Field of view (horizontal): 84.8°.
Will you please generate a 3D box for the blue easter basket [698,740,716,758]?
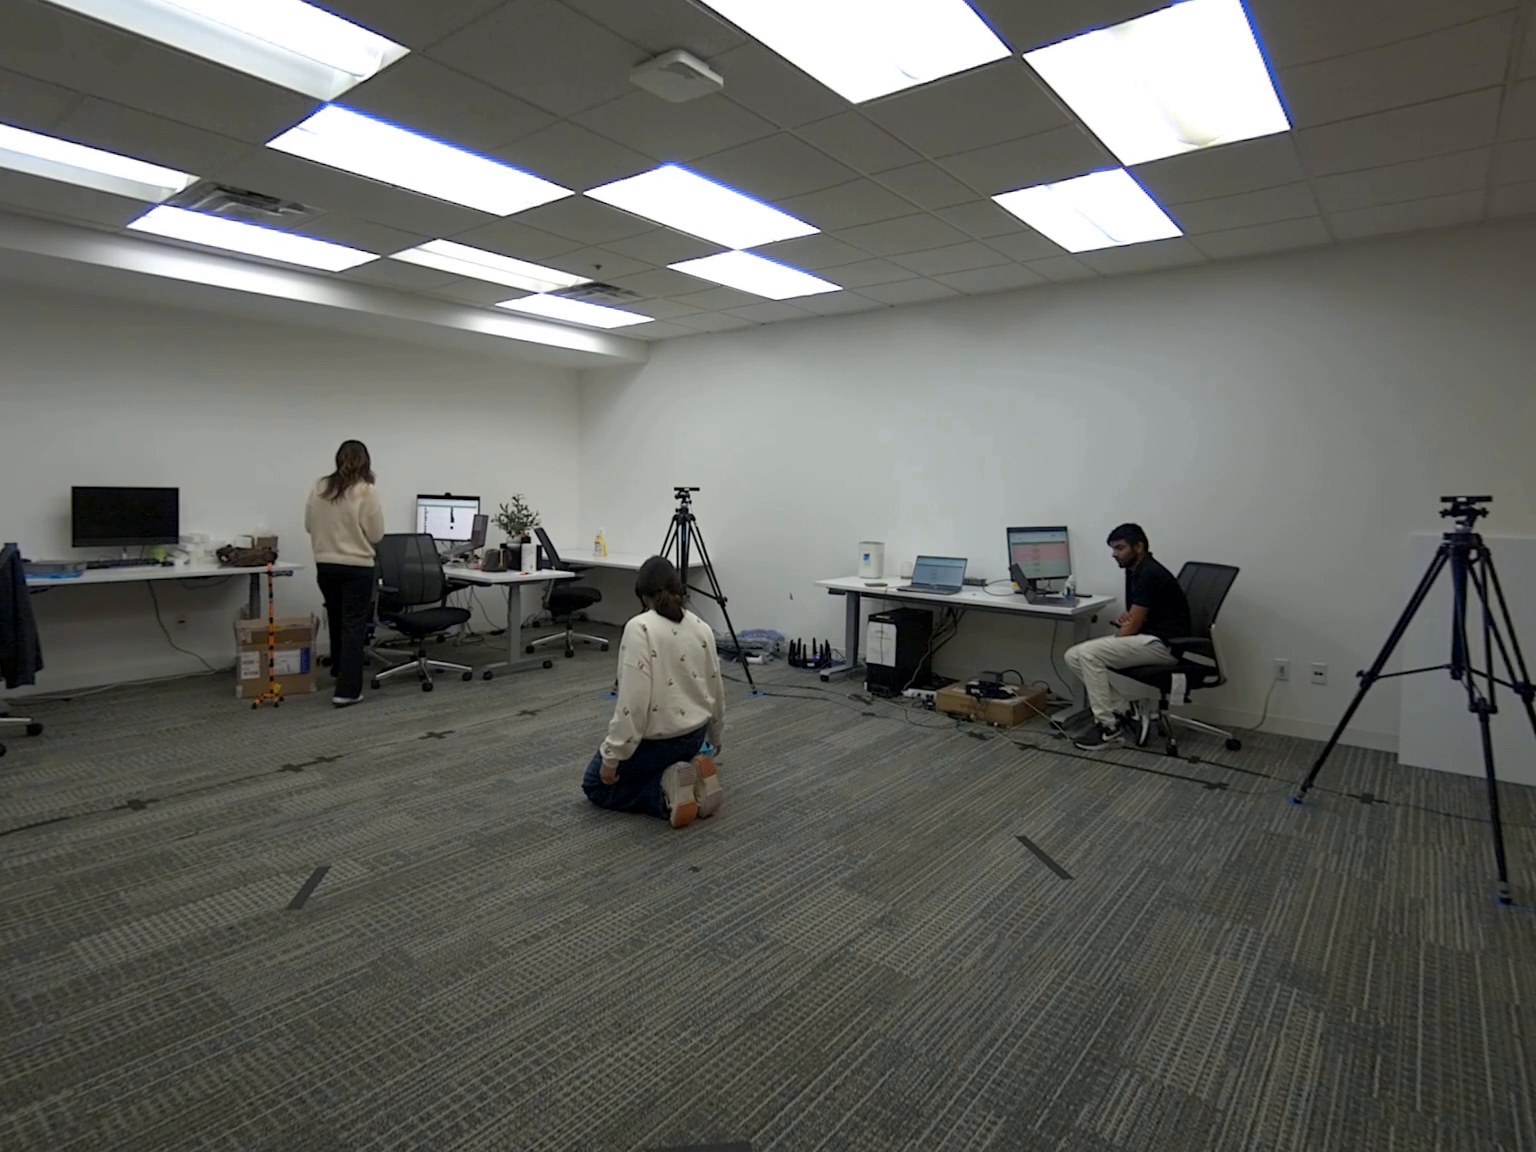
[{"bbox_3d":[-0.371,0.882,4.121,0.243,0.155,0.245,0,6,-2],"label":"blue easter basket"}]
